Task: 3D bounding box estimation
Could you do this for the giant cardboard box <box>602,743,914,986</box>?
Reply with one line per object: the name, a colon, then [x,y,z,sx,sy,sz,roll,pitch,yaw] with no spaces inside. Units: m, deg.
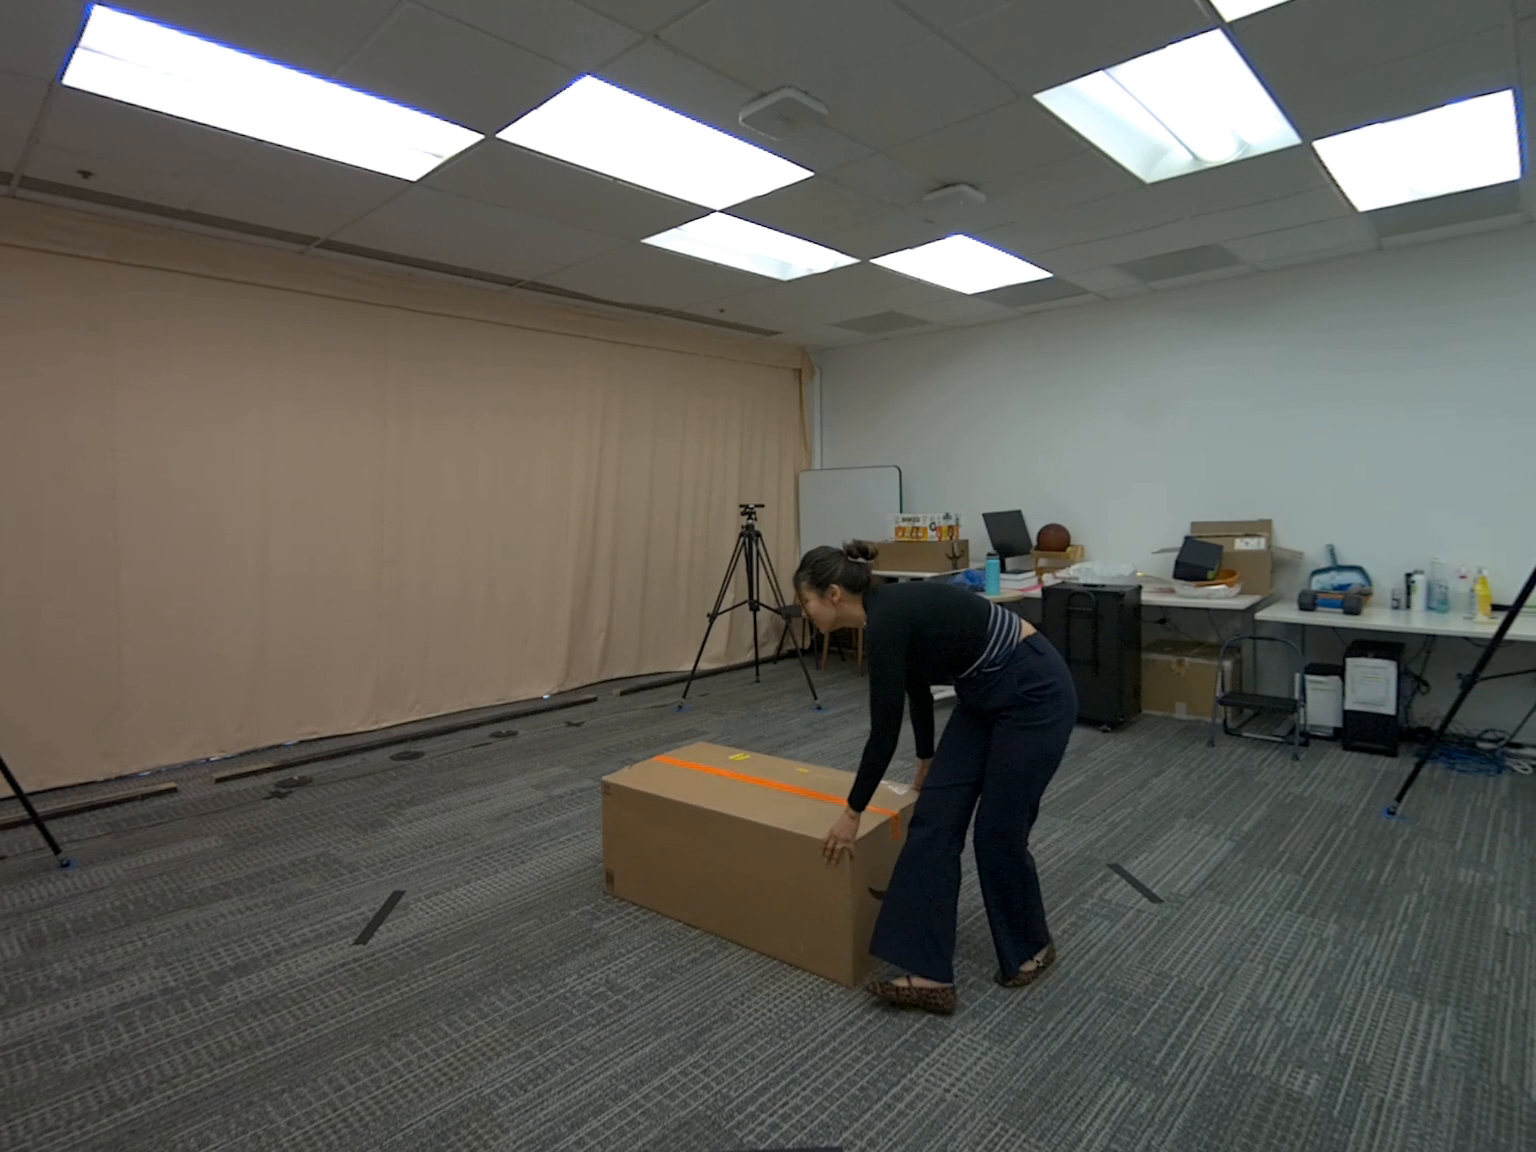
giant cardboard box: [-0.018,0.930,2.939,1.059,0.425,0.560,2,5,37]
